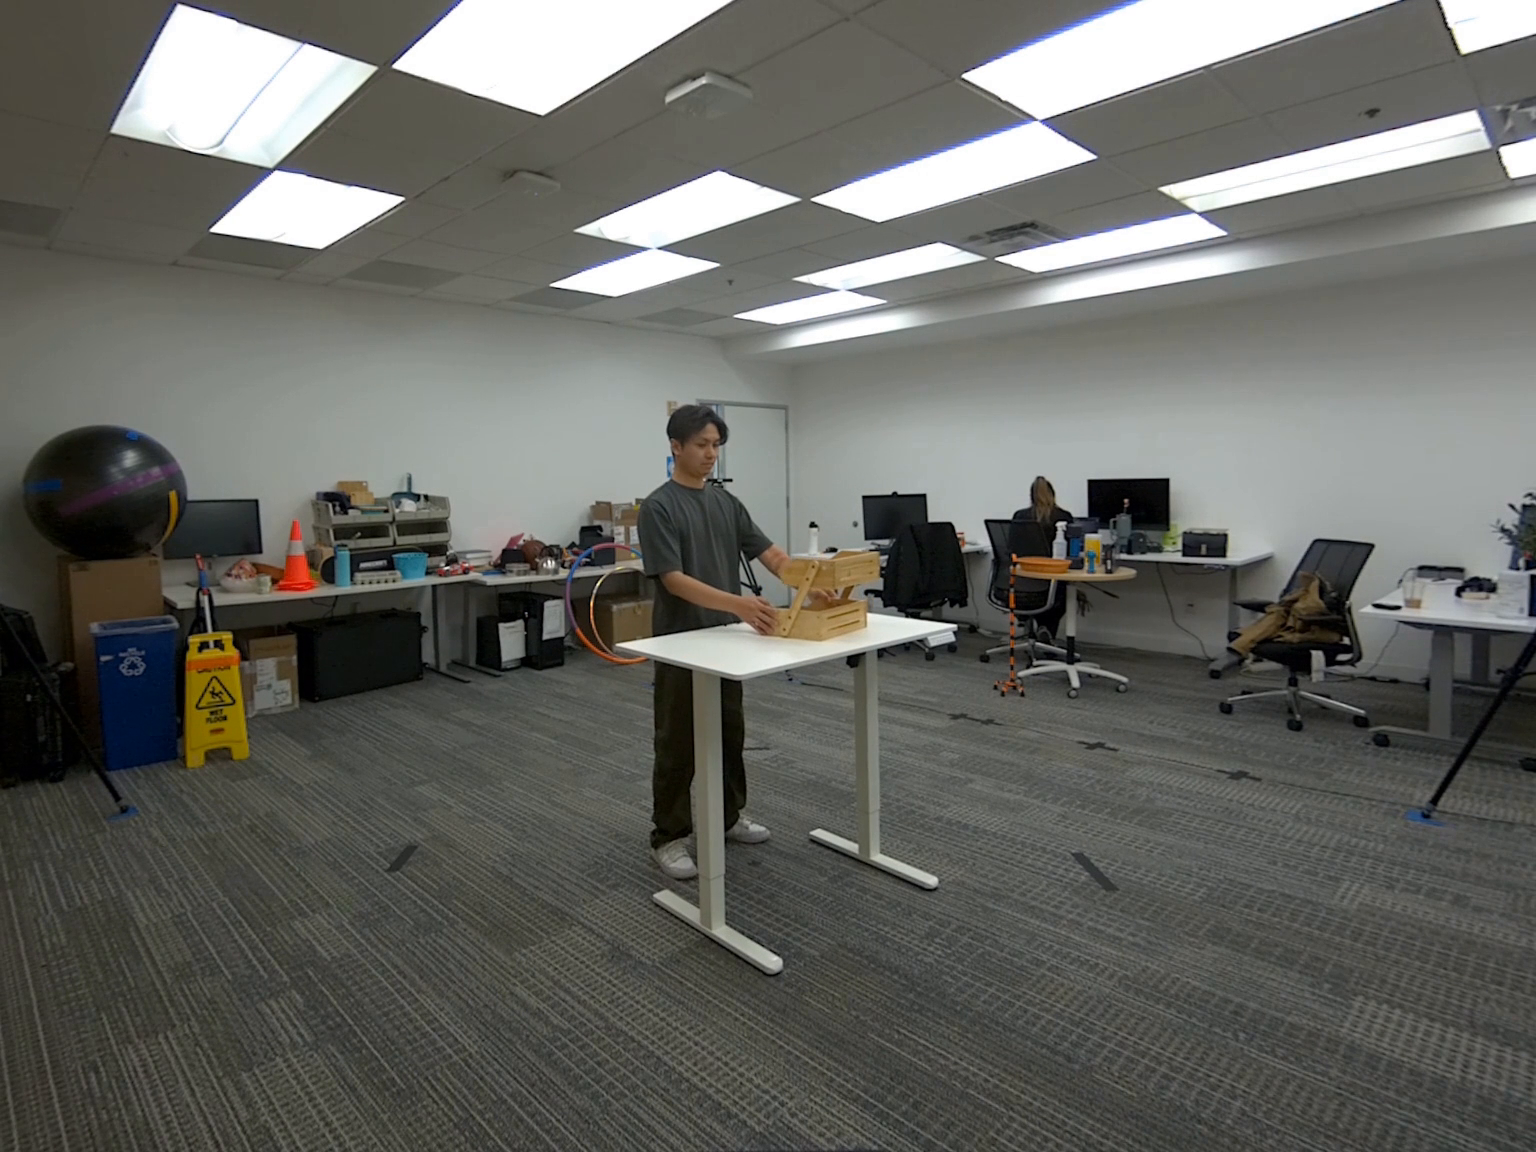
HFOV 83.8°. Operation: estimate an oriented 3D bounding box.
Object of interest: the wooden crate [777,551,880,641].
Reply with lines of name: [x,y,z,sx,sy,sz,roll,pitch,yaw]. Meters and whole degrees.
wooden crate: [0.171,0.054,2.855,0.311,0.272,0.317,3,7,37]
